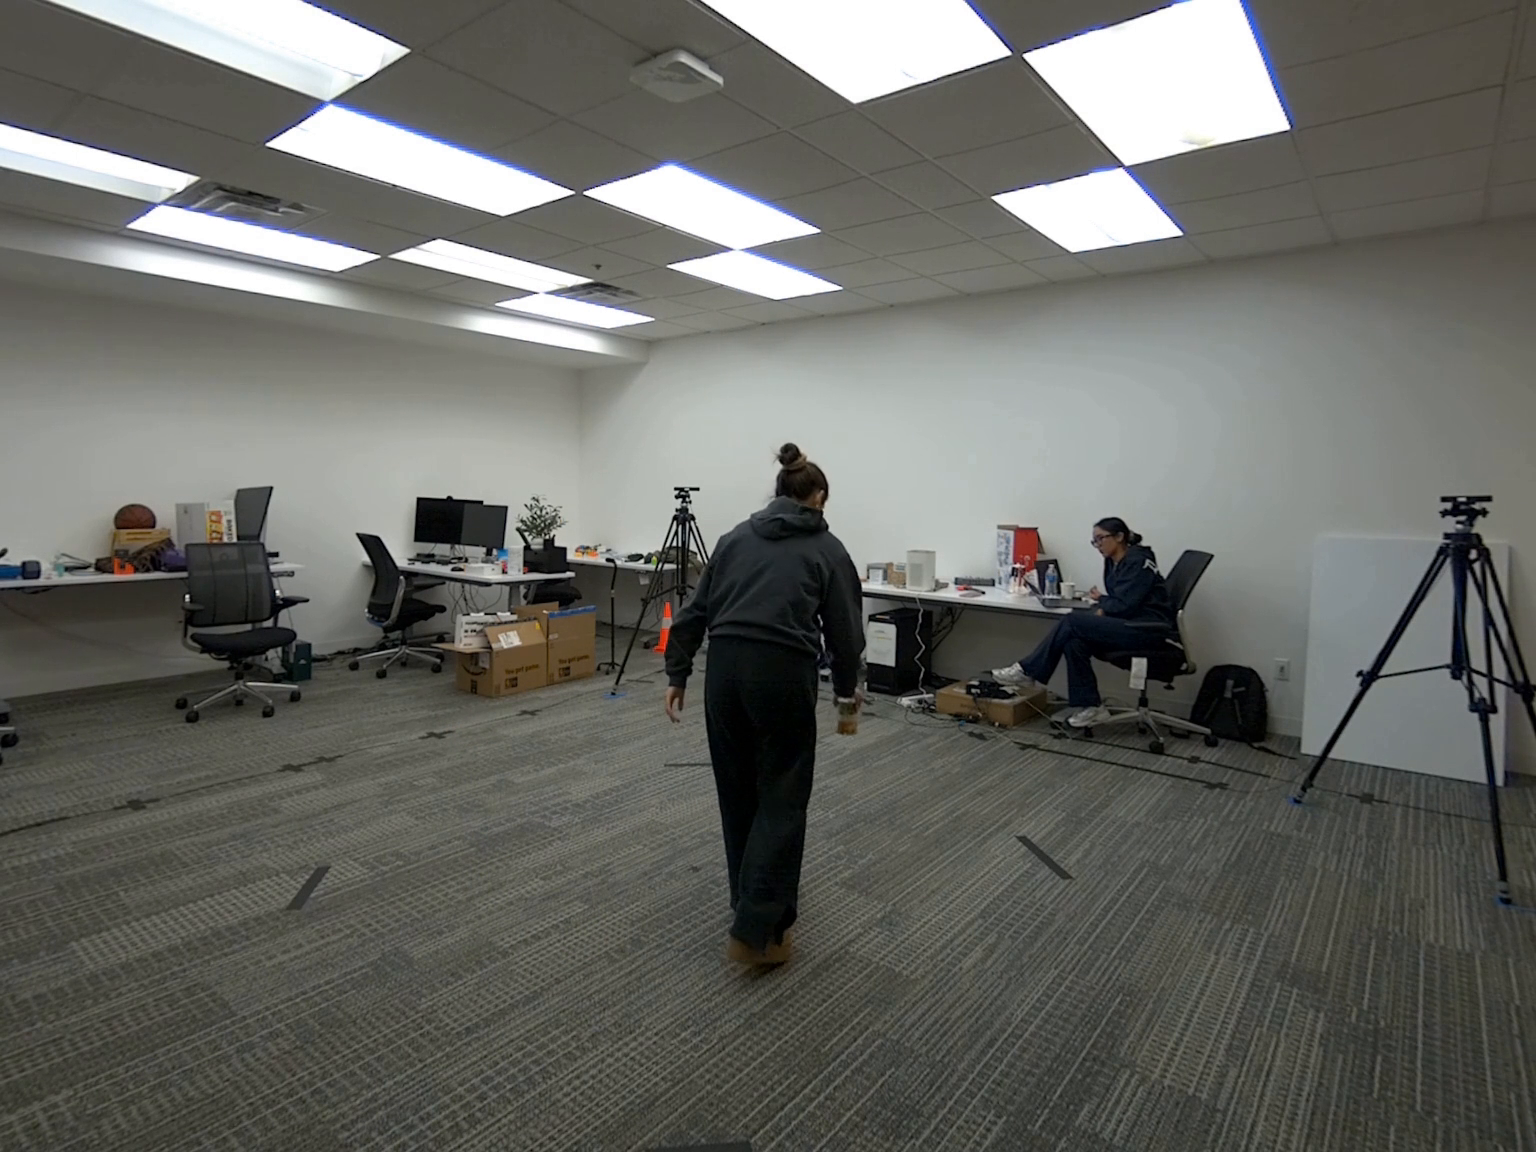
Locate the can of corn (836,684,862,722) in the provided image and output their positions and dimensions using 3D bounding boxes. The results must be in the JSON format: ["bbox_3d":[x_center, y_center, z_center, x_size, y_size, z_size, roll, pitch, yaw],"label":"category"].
[{"bbox_3d":[0.276,0.433,2.893,0.074,0.110,0.075,-2,8,-2],"label":"can of corn"}]
